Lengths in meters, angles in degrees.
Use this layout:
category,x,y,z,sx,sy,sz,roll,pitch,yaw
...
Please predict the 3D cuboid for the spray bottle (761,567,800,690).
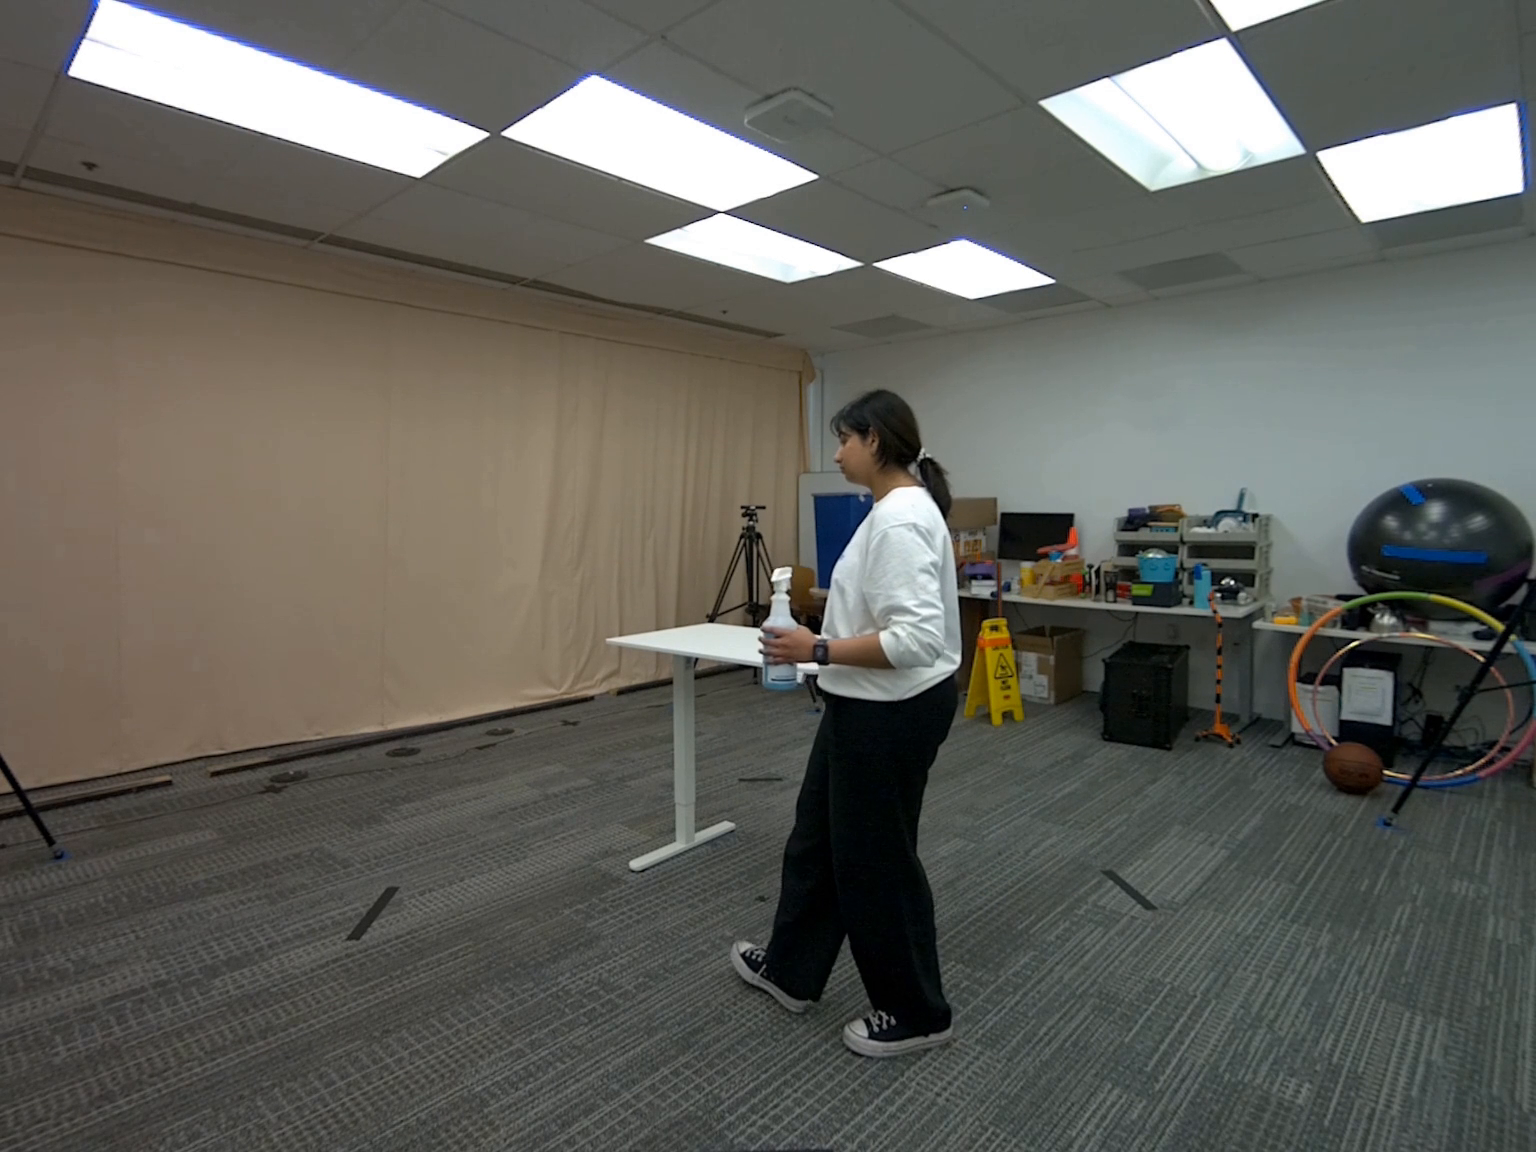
category,x,y,z,sx,sy,sz,roll,pitch,yaw
spray bottle,0.057,0.133,2.083,0.087,0.297,0.090,4,3,-35
